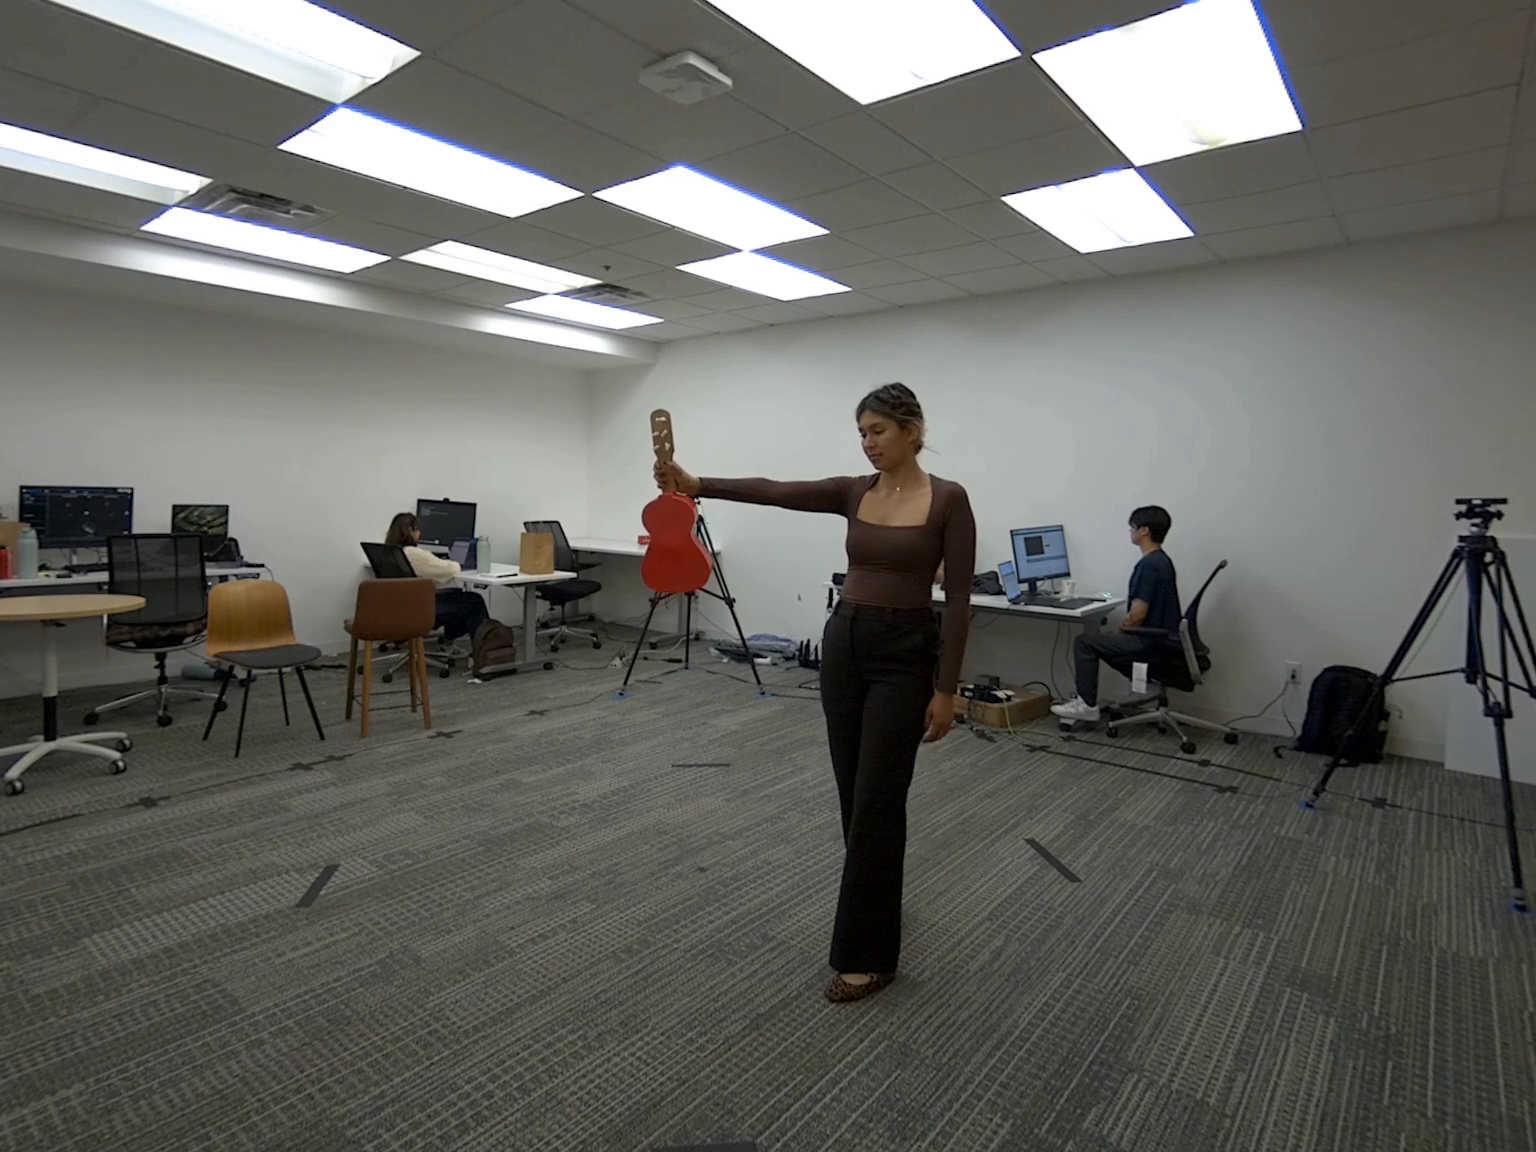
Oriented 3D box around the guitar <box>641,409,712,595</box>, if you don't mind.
[{"bbox_3d":[-0.301,-0.202,2.339,0.195,0.491,0.071,-12,11,11],"label":"guitar"}]
